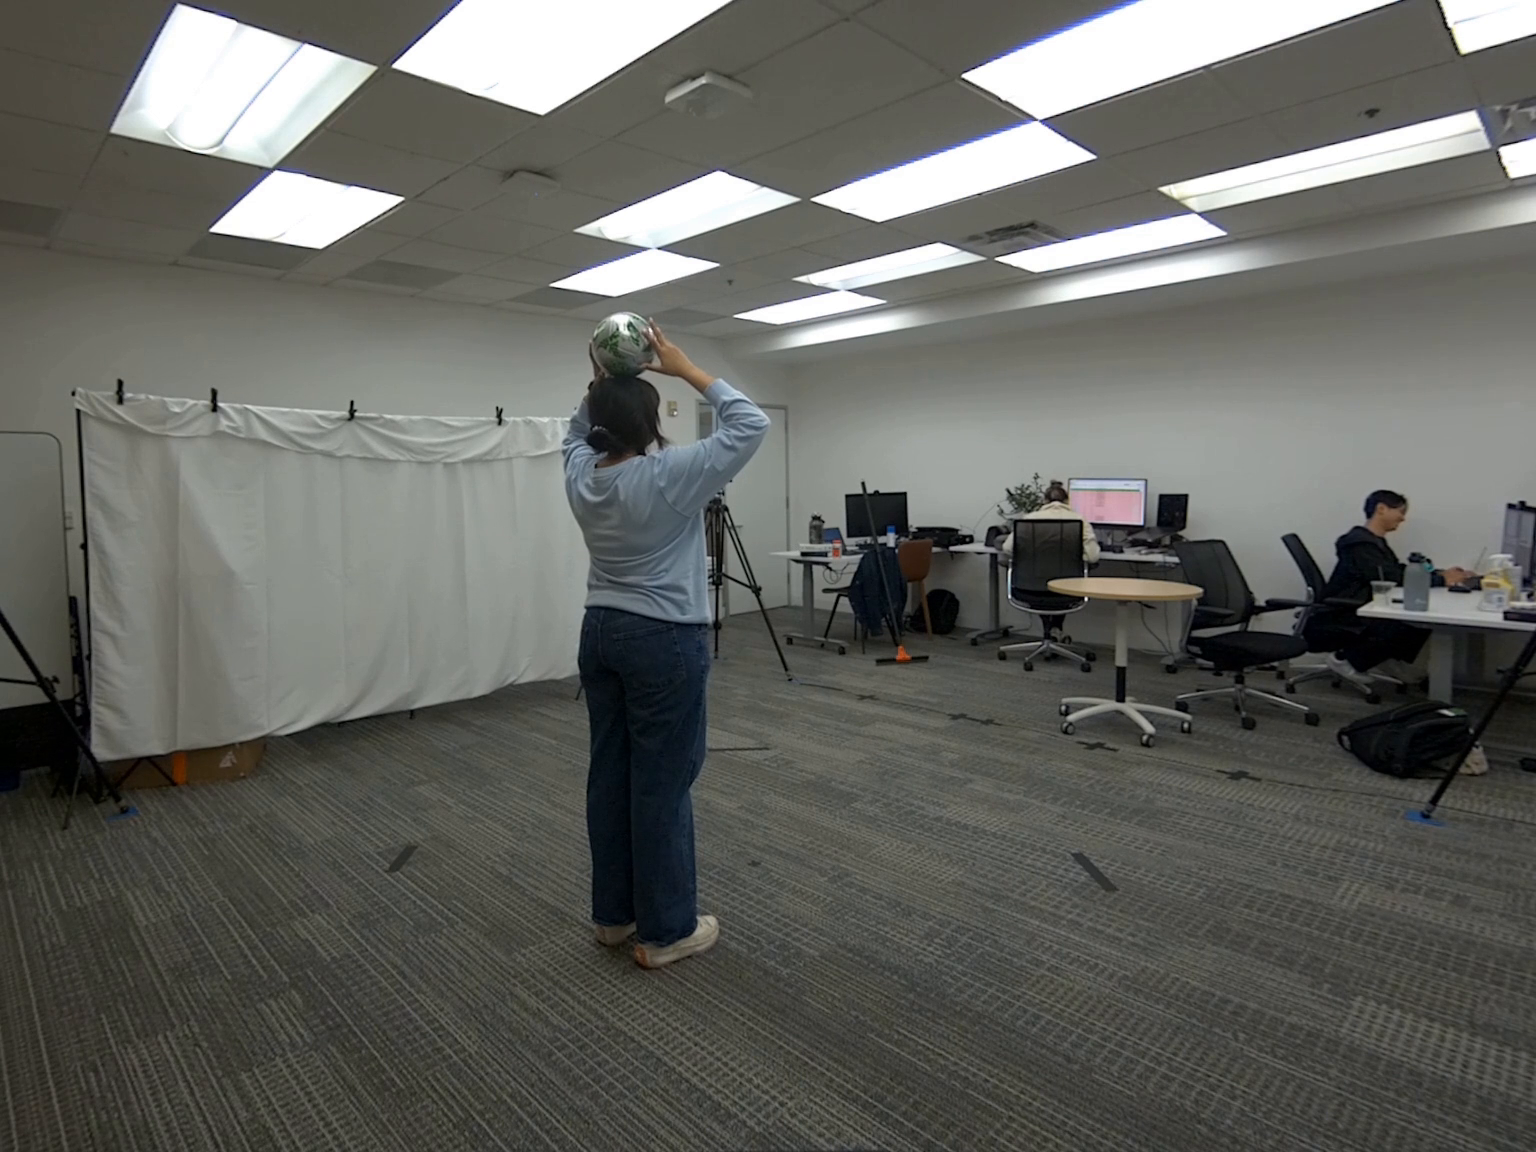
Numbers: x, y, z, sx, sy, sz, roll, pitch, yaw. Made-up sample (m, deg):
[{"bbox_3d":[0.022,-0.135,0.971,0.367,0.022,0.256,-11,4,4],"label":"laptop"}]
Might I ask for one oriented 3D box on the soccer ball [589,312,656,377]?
[{"bbox_3d":[-0.413,-0.666,2.474,0.187,0.187,0.188,-1,5,-2],"label":"soccer ball"}]
